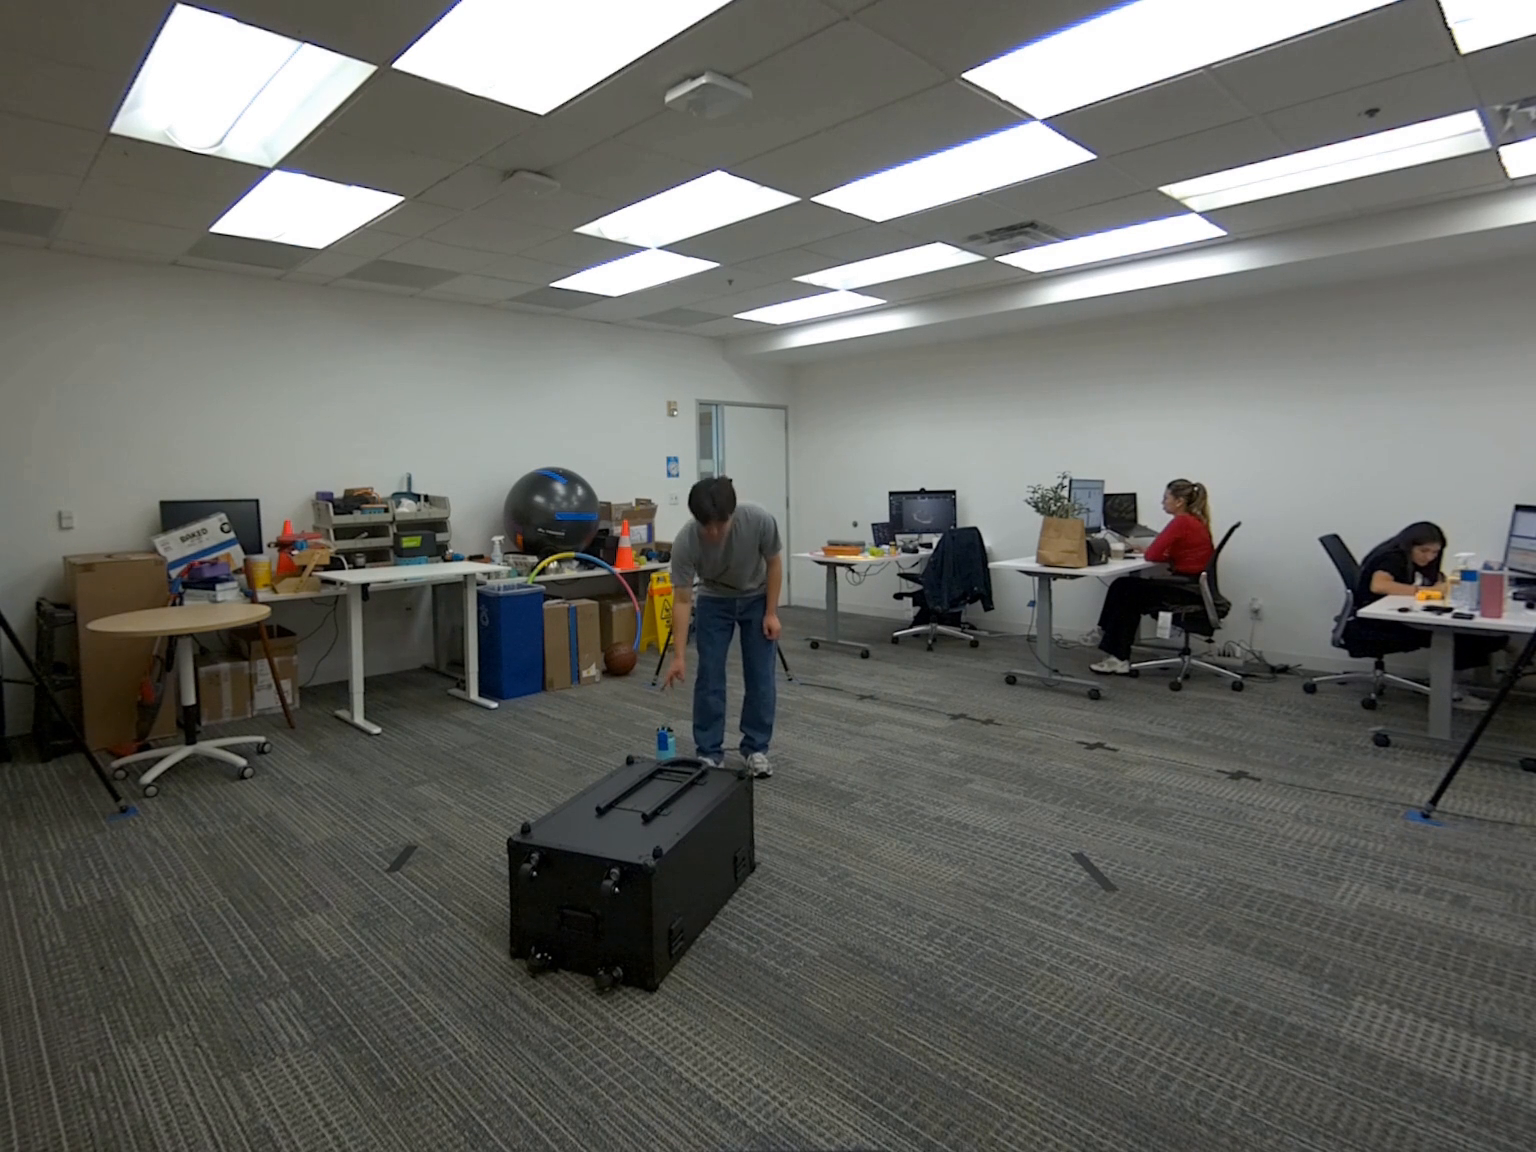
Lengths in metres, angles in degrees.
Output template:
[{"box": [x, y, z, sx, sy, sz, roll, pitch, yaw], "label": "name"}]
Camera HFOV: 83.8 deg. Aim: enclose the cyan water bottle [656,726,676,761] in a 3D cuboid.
[{"box": [-0.472, 0.826, 3.923, 0.092, 0.282, 0.093, -2, 3, -2], "label": "cyan water bottle"}]
